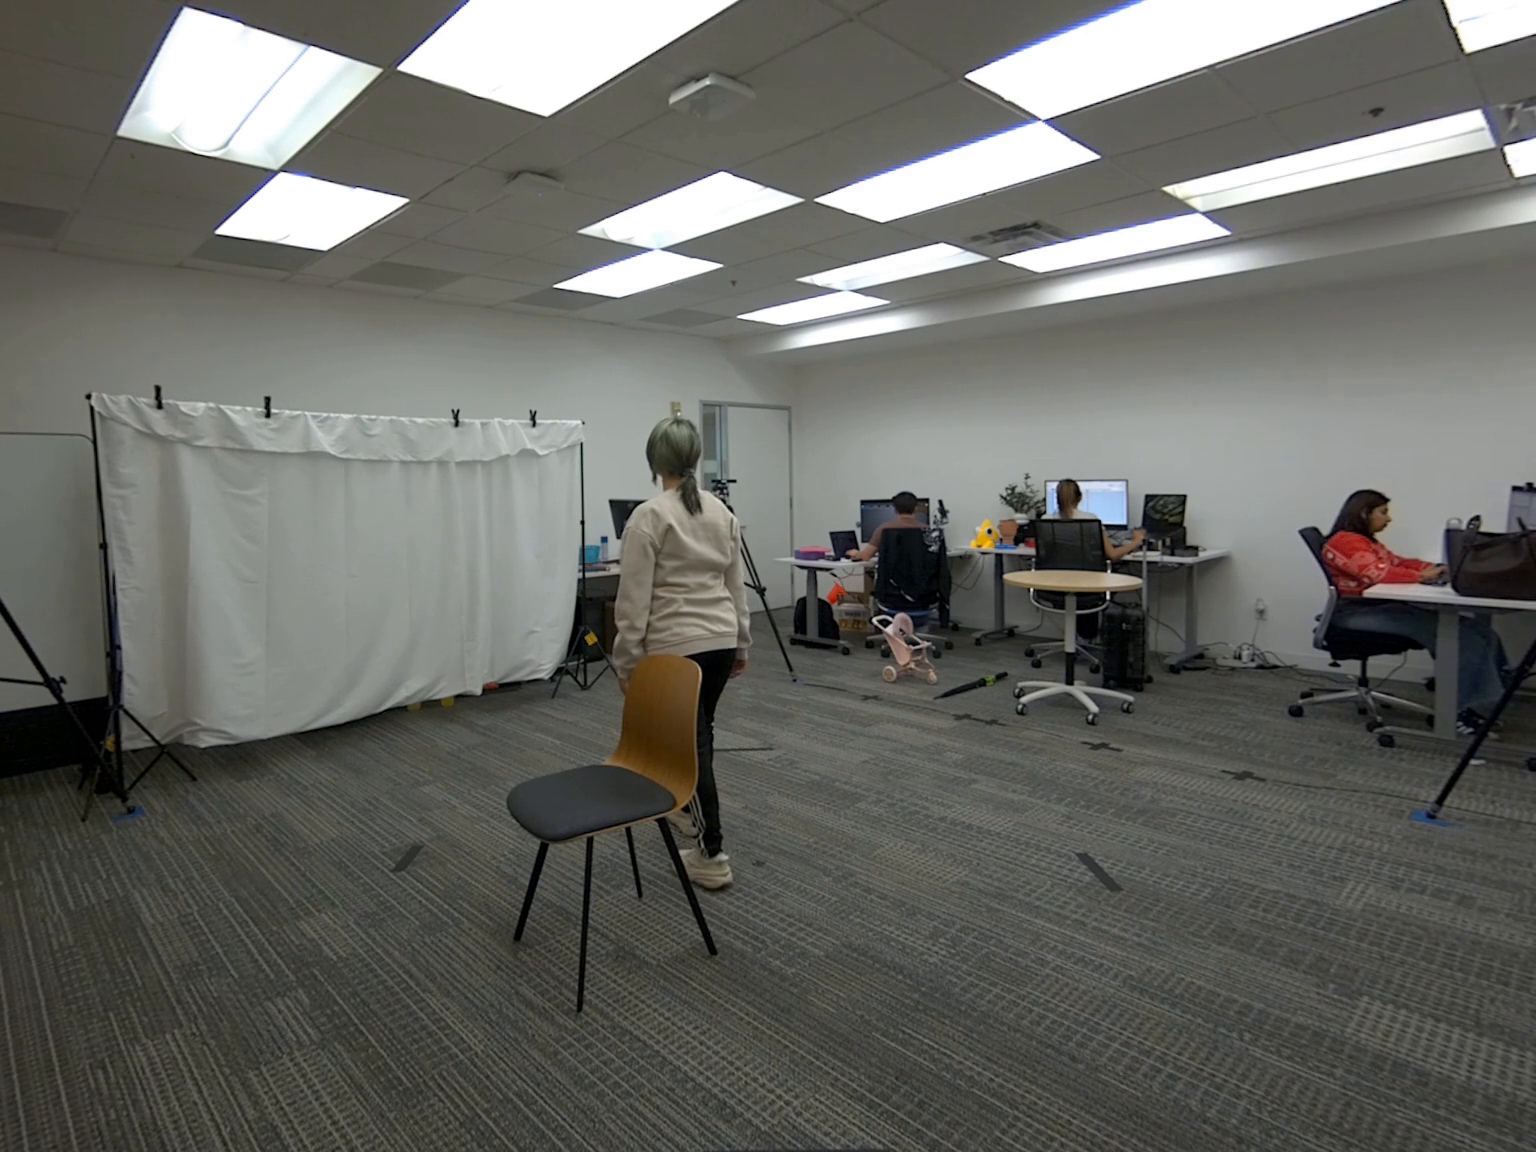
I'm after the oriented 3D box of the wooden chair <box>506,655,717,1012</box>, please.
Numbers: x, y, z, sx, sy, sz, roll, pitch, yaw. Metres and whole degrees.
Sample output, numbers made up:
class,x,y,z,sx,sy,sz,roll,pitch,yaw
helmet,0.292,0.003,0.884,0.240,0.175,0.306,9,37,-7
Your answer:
class,x,y,z,sx,sy,sz,roll,pitch,yaw
wooden chair,-0.478,0.696,2.530,0.508,0.876,0.492,1,3,-37
